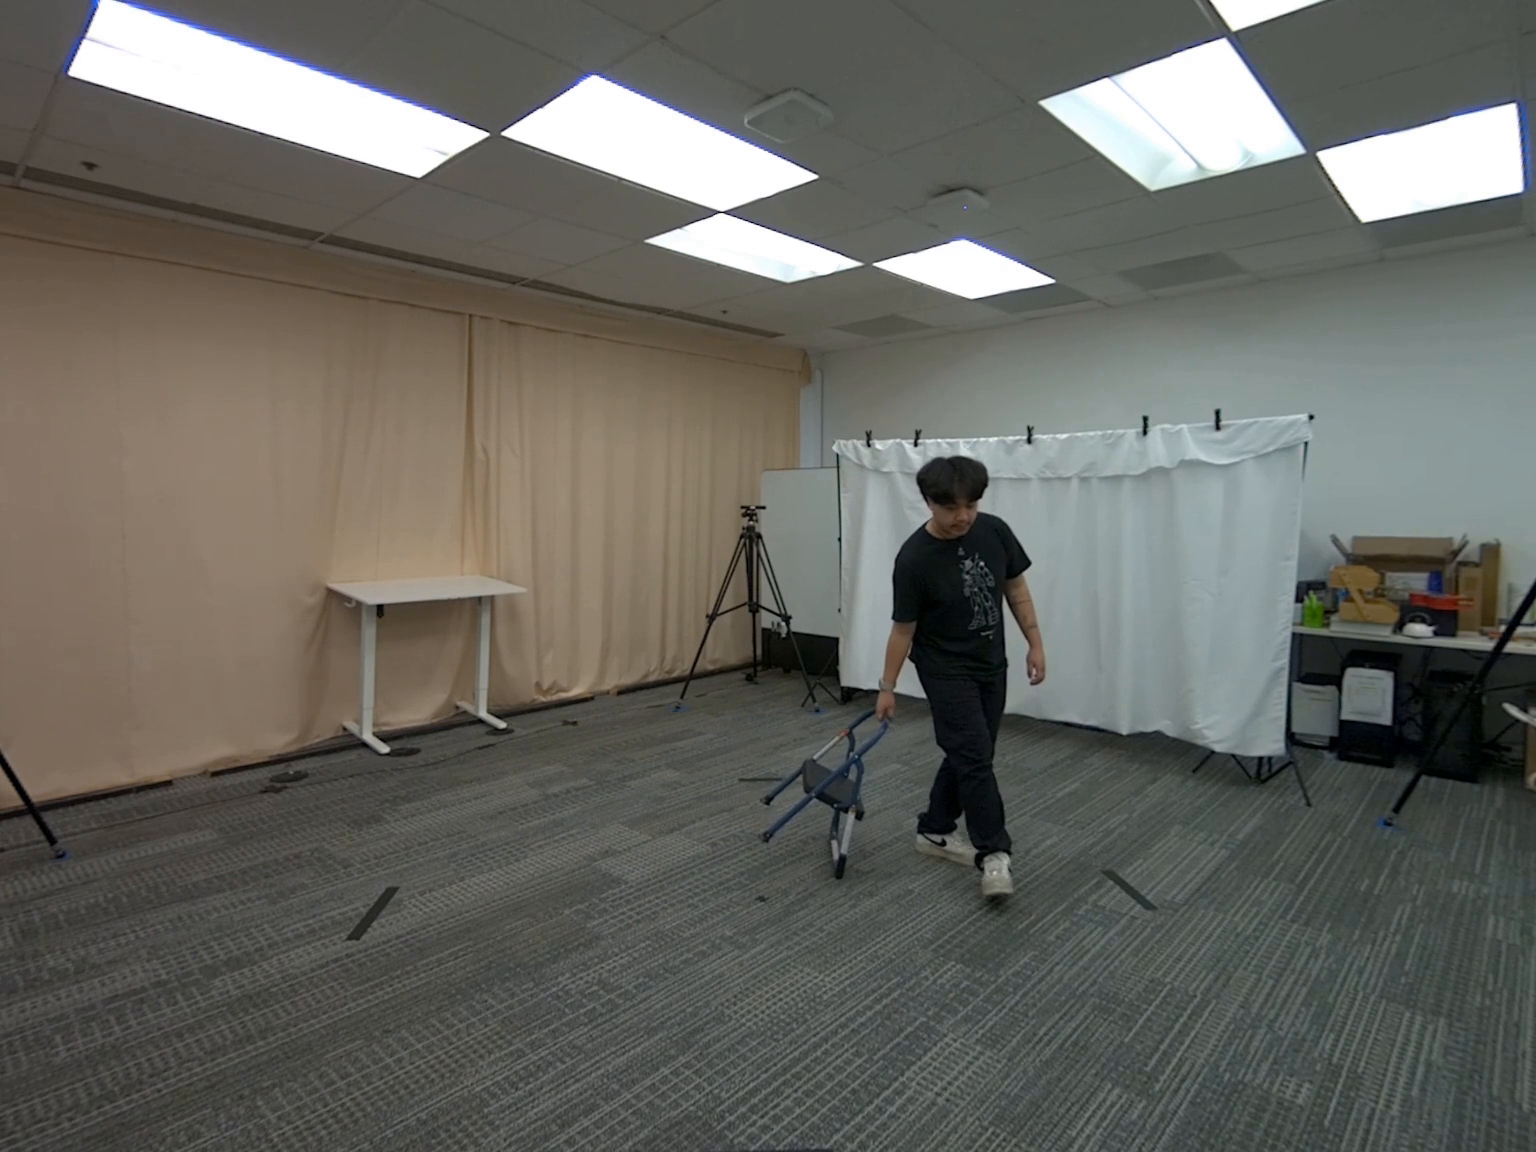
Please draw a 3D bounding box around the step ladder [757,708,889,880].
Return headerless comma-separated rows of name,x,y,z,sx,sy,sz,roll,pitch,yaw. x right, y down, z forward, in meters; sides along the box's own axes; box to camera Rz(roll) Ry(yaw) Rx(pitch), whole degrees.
step ladder,0.260,0.779,3.322,0.349,0.606,0.431,26,5,-1
